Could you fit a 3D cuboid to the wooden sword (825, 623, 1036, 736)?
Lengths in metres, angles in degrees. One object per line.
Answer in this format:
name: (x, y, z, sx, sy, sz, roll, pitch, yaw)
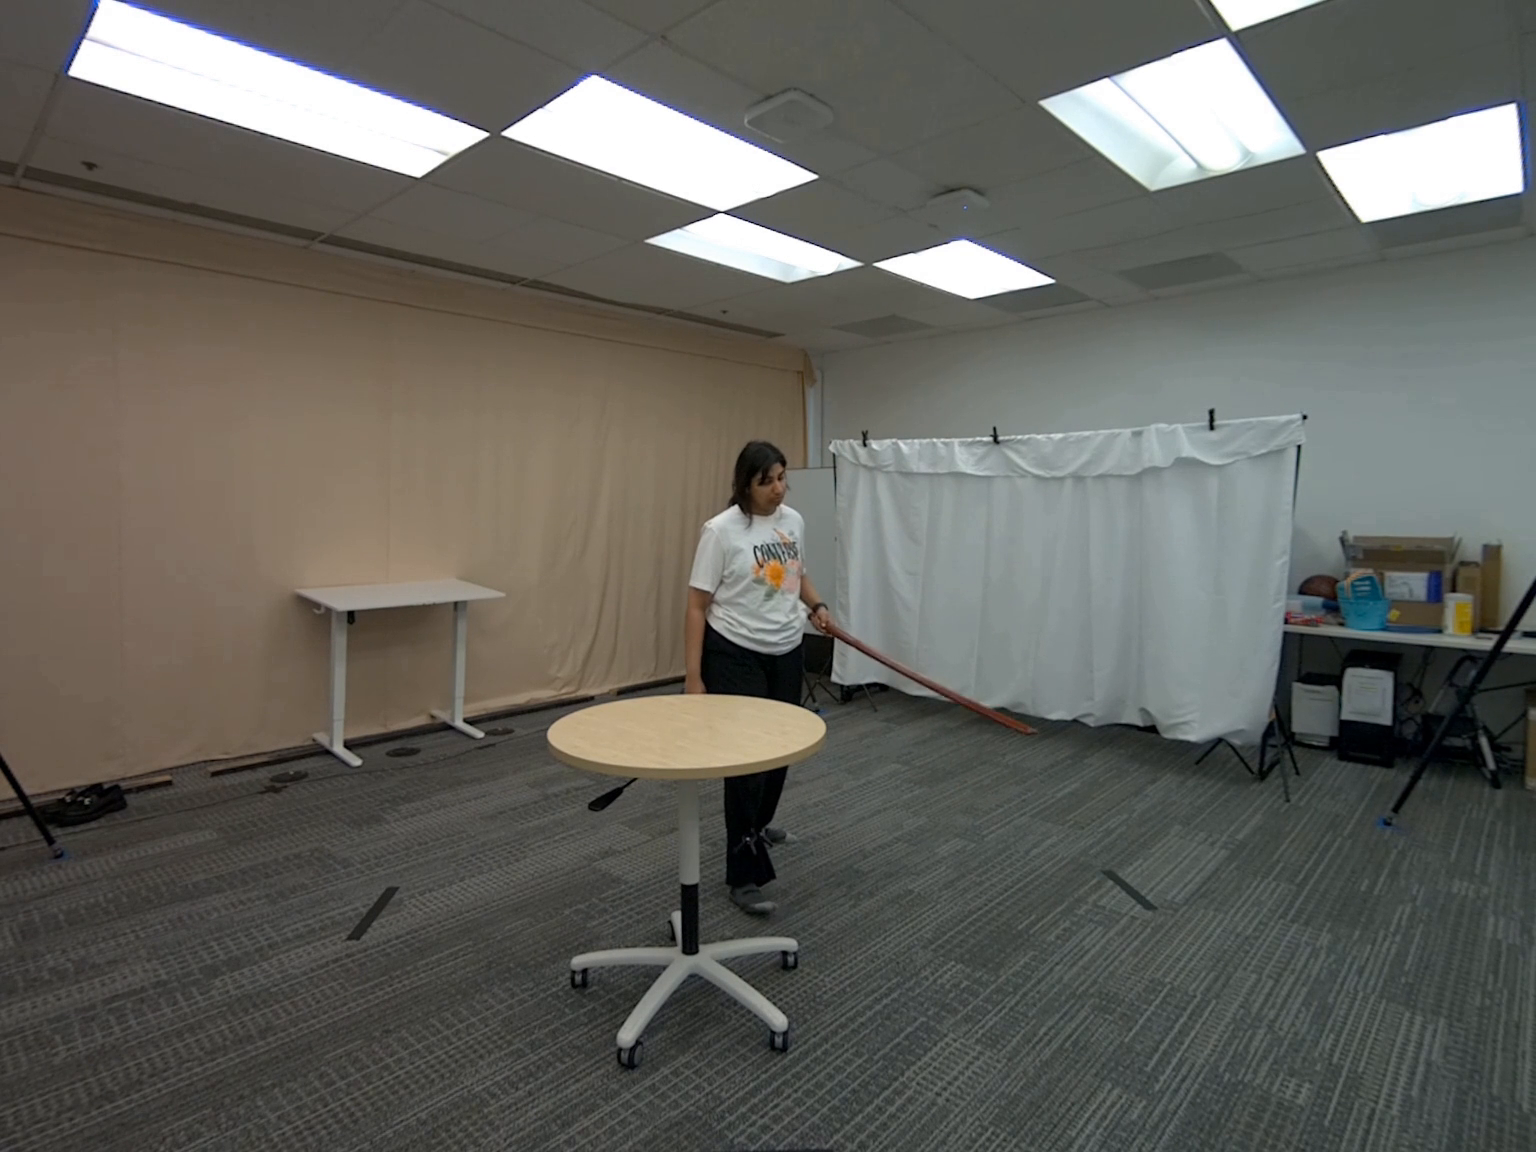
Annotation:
wooden sword: (0.519, 0.315, 2.933, 0.050, 0.024, 1.062, -2, 19, -36)
